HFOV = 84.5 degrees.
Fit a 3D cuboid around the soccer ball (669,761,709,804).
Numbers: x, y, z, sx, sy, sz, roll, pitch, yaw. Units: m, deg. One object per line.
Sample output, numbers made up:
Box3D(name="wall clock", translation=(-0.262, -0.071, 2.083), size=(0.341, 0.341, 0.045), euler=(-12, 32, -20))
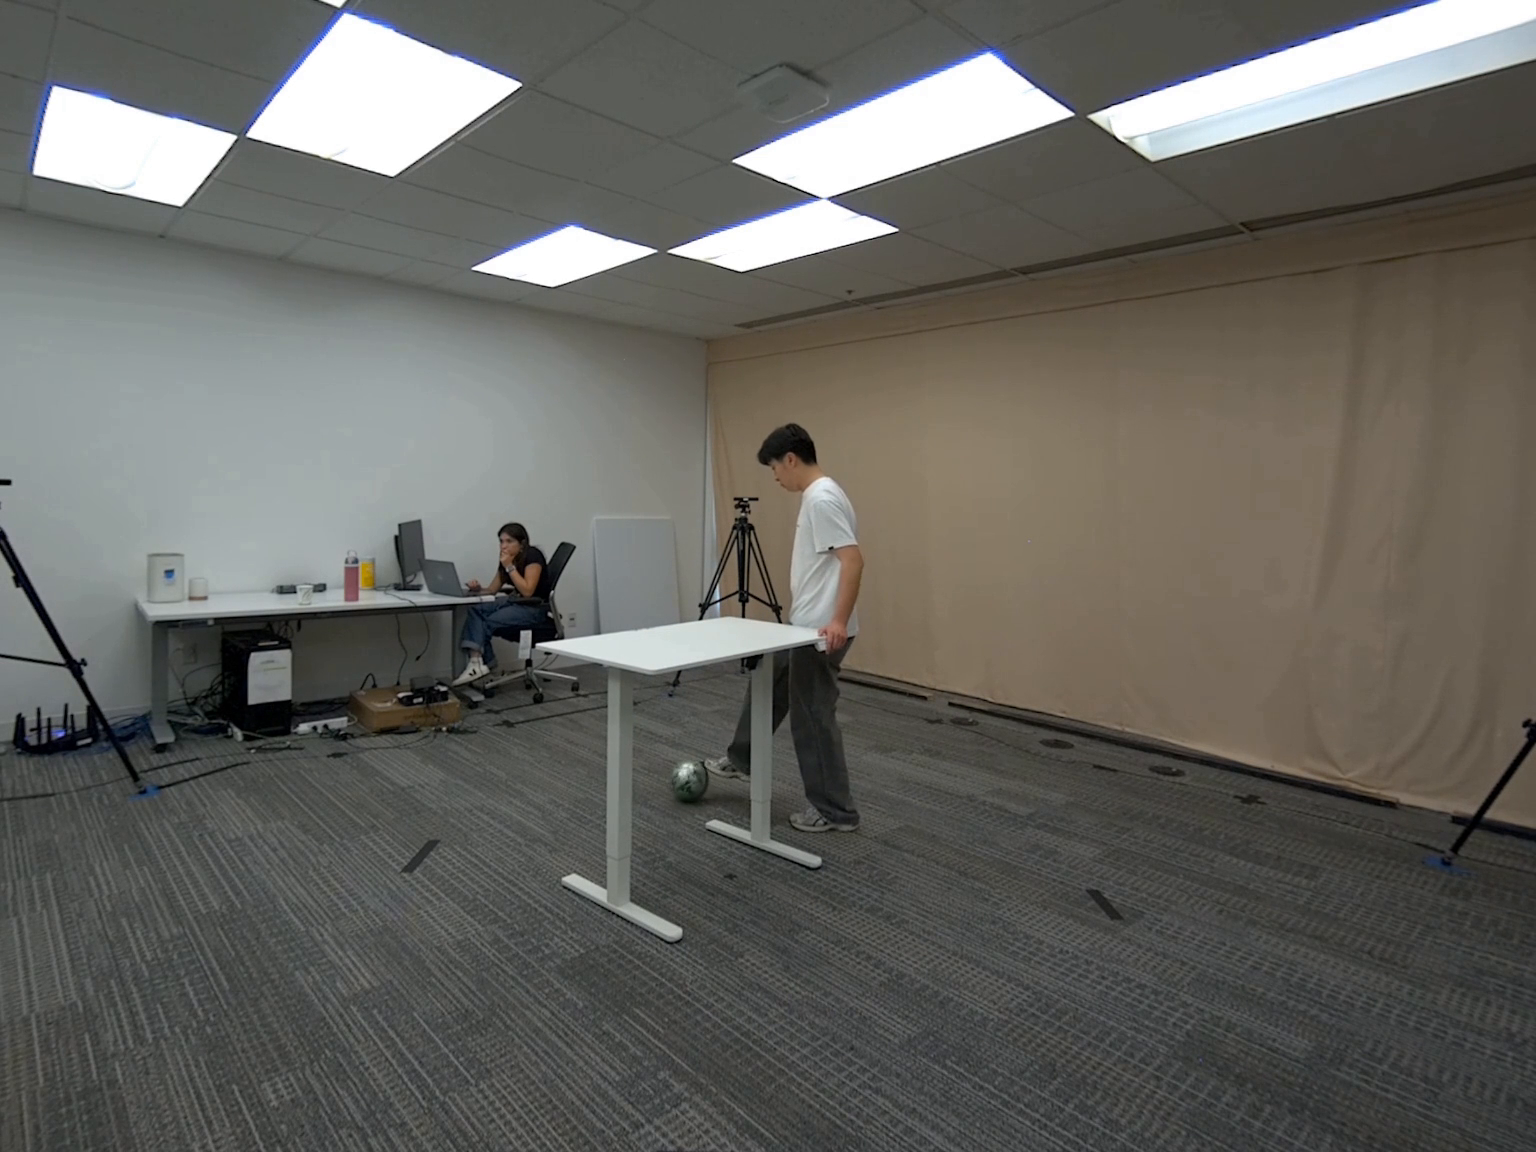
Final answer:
Box3D(name="soccer ball", translation=(-0.373, 0.938, 3.870), size=(0.187, 0.187, 0.188), euler=(1, 4, -1))
